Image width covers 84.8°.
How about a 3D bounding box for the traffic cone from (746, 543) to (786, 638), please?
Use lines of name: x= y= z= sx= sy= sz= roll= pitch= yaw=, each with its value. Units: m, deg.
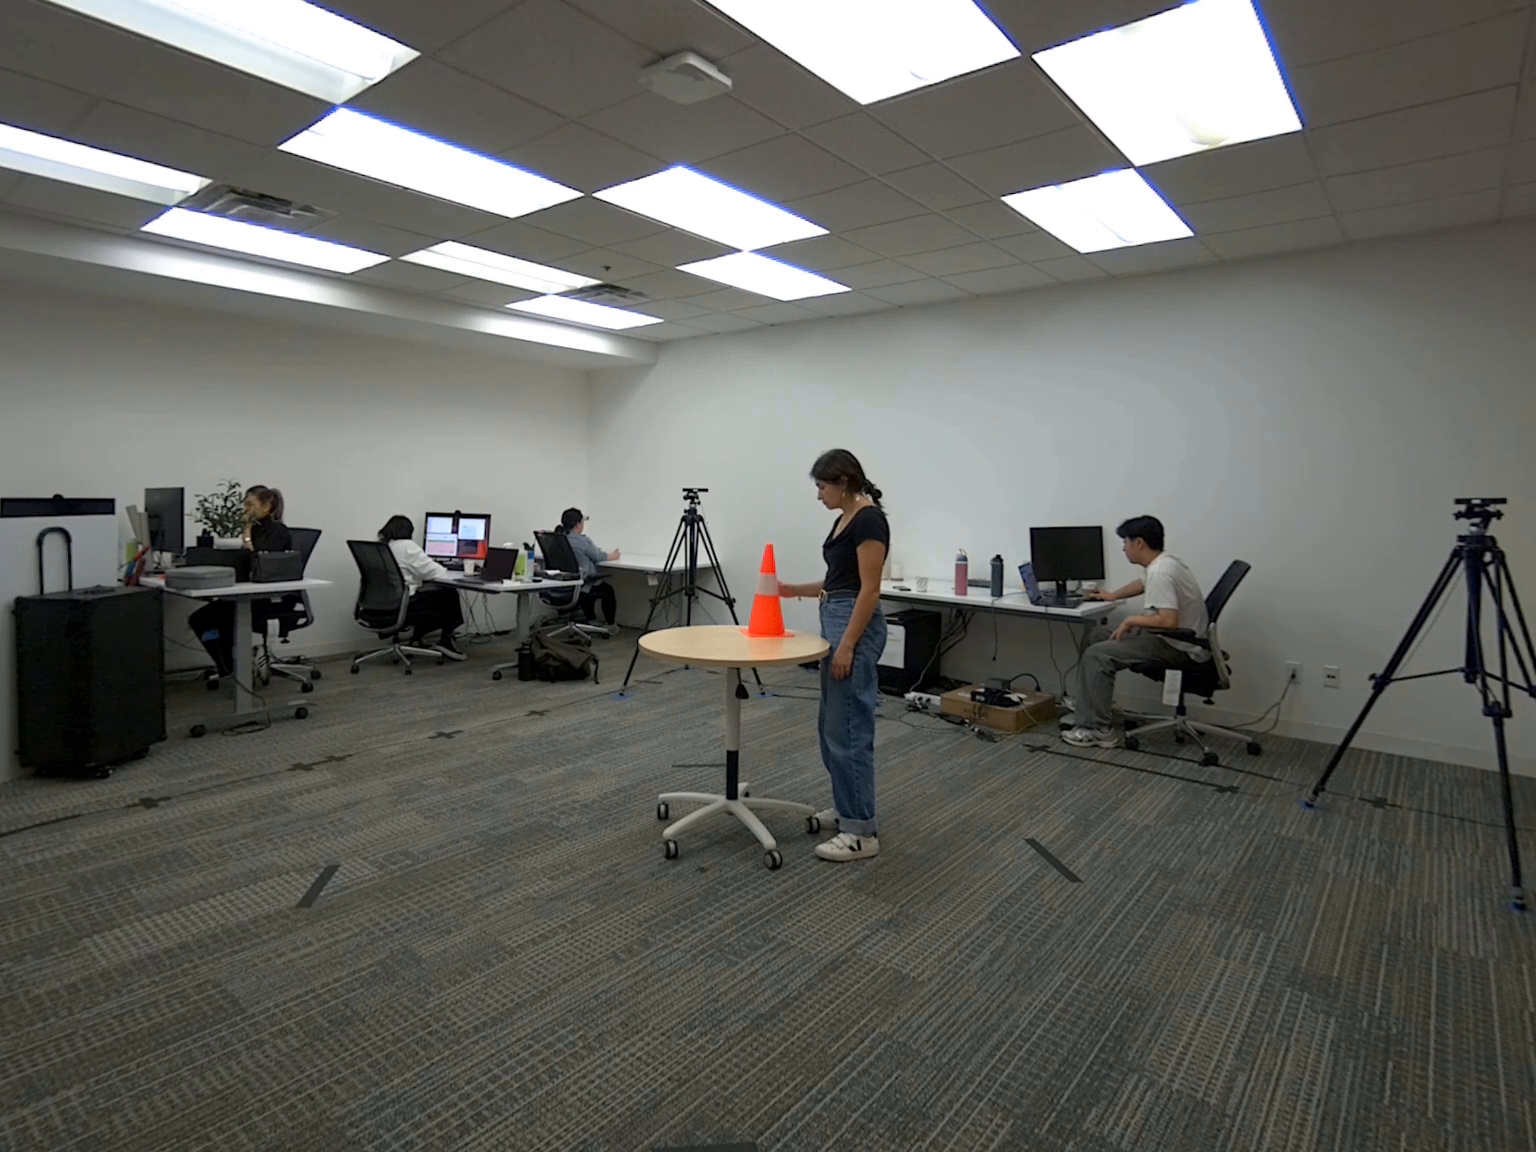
traffic cone: x=0.016 y=0.049 z=3.624 sx=0.202 sy=0.382 sz=0.207 roll=4 pitch=6 yaw=-15
